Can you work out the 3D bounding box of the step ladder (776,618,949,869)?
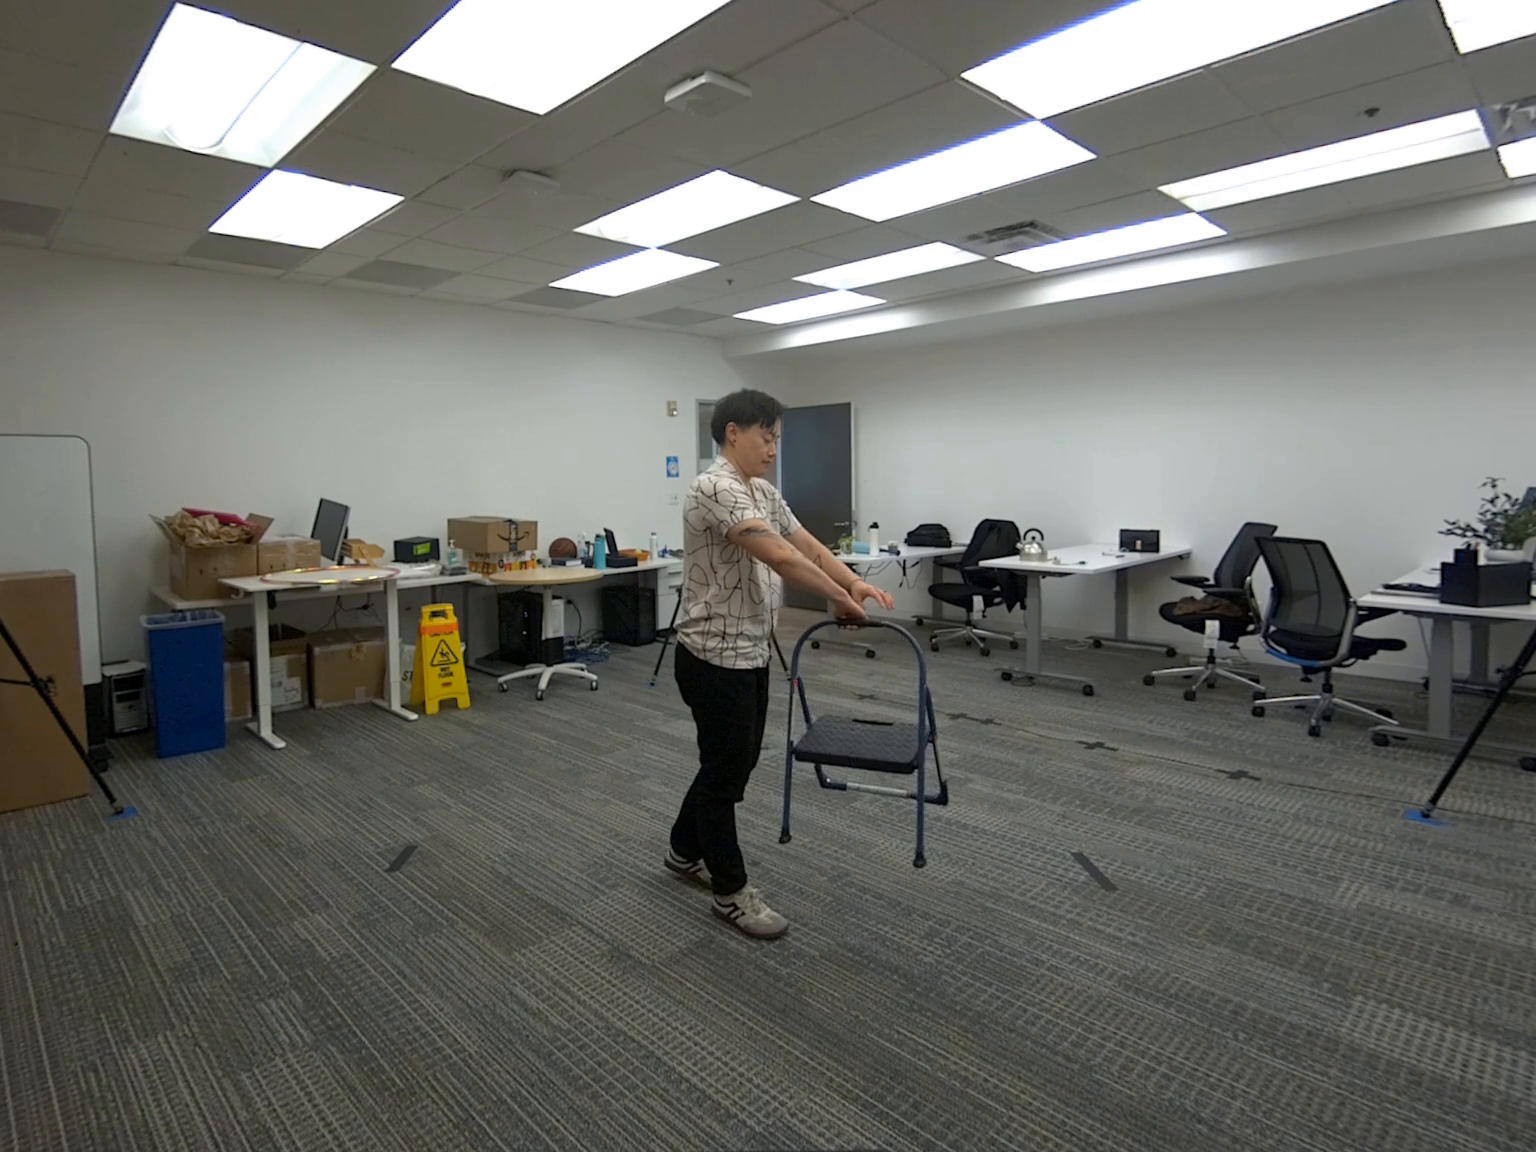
[{"bbox_3d":[0.255,0.444,2.473,0.441,0.598,0.346,1,15,26],"label":"step ladder"}]
